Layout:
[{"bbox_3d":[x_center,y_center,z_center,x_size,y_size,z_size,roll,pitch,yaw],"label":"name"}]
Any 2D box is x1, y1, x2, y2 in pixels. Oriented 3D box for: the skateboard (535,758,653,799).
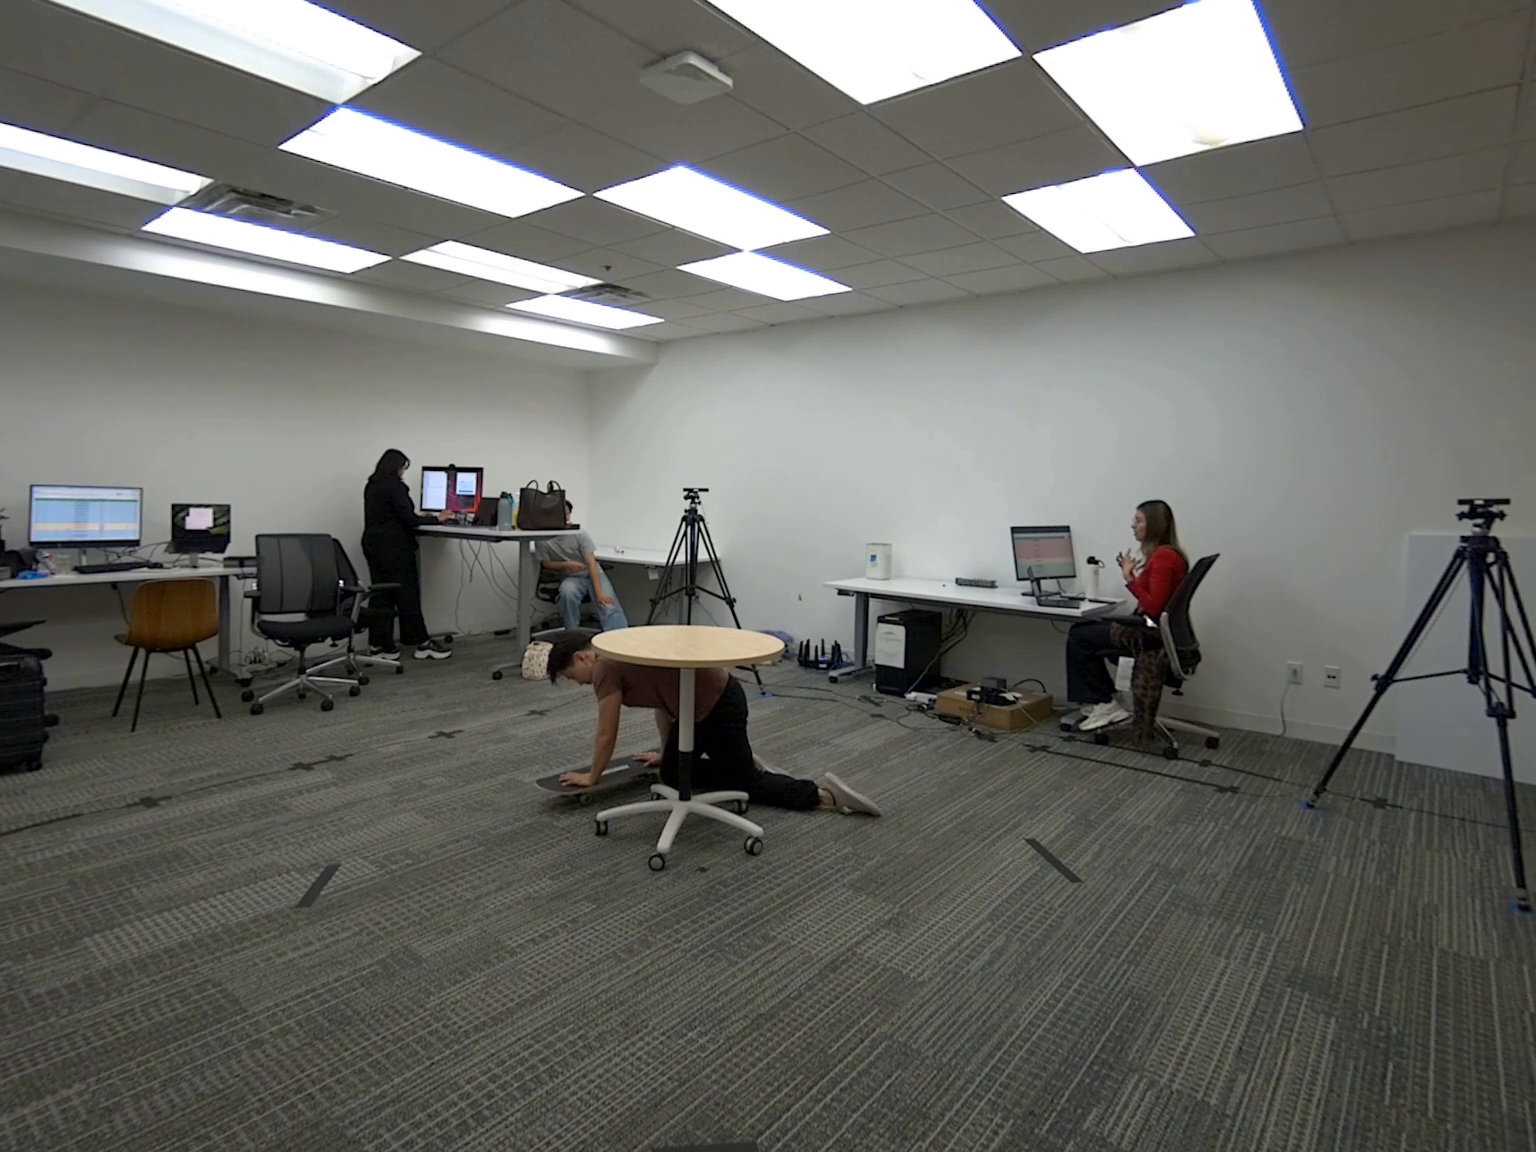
[{"bbox_3d":[-0.748,0.923,3.924,0.200,0.109,0.762,10,11,43],"label":"skateboard"}]
